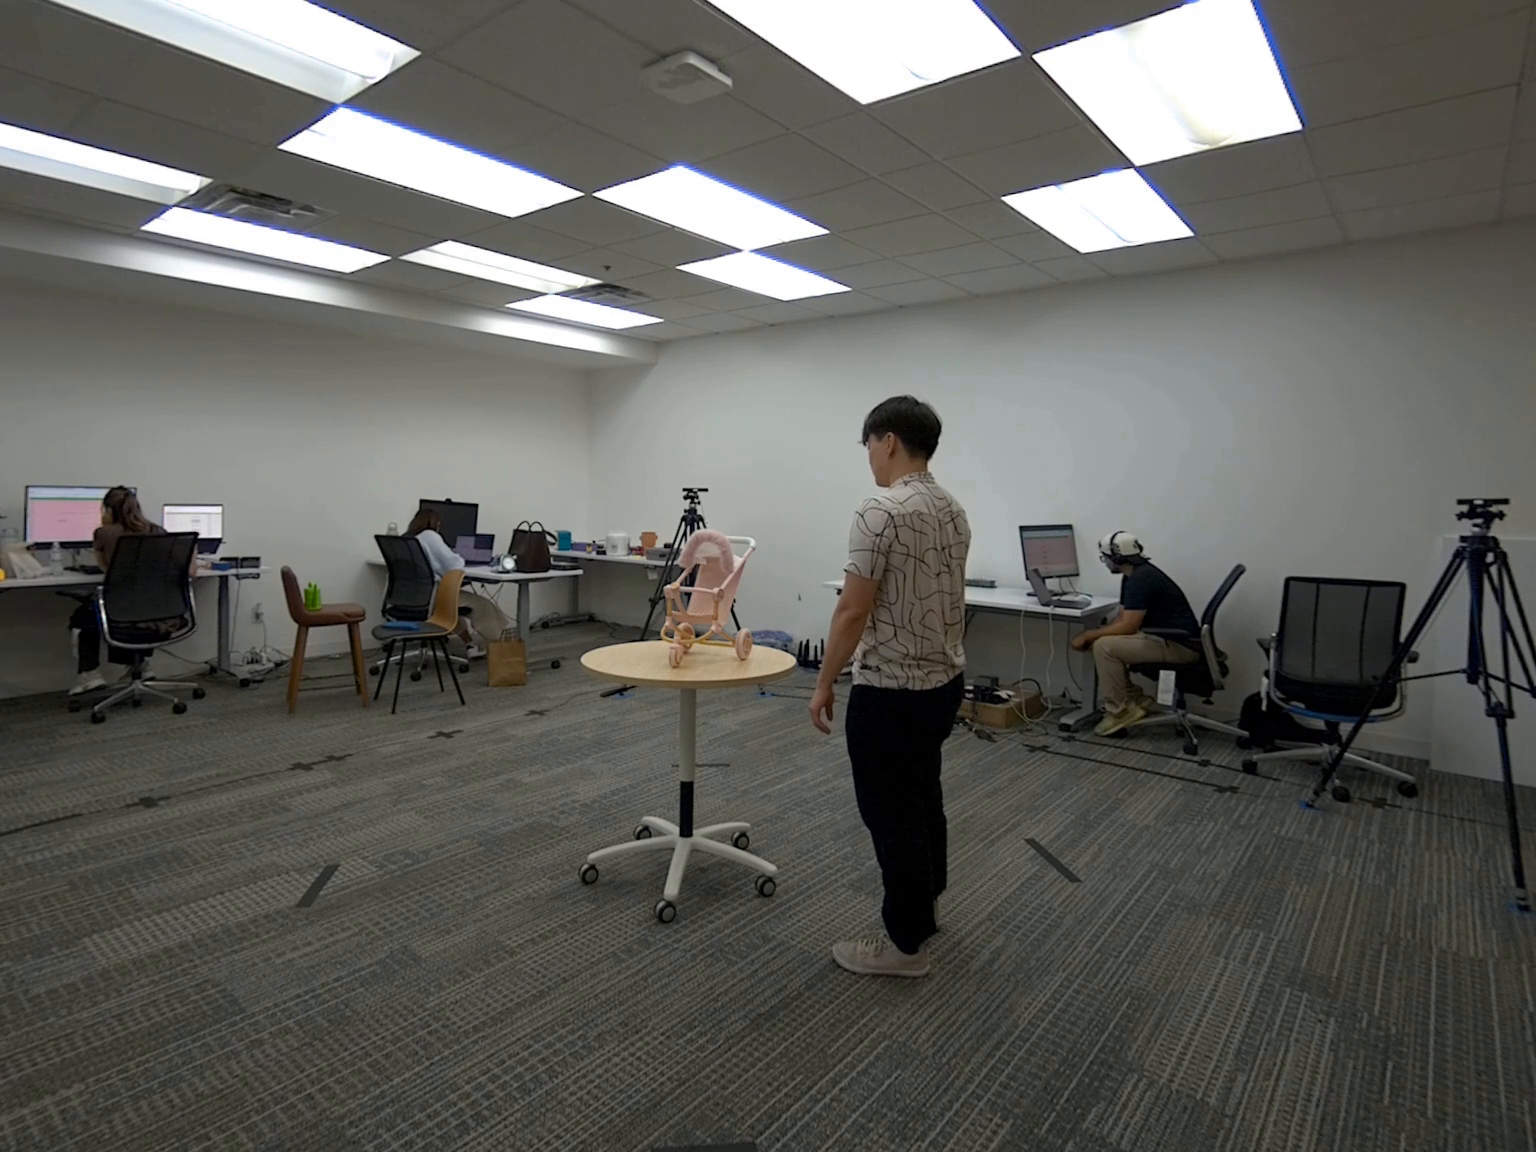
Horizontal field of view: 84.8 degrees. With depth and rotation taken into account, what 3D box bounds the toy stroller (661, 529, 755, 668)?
[{"bbox_3d":[-0.238,0.068,3.025,0.290,0.540,0.328,2,-14,31],"label":"toy stroller"}]
